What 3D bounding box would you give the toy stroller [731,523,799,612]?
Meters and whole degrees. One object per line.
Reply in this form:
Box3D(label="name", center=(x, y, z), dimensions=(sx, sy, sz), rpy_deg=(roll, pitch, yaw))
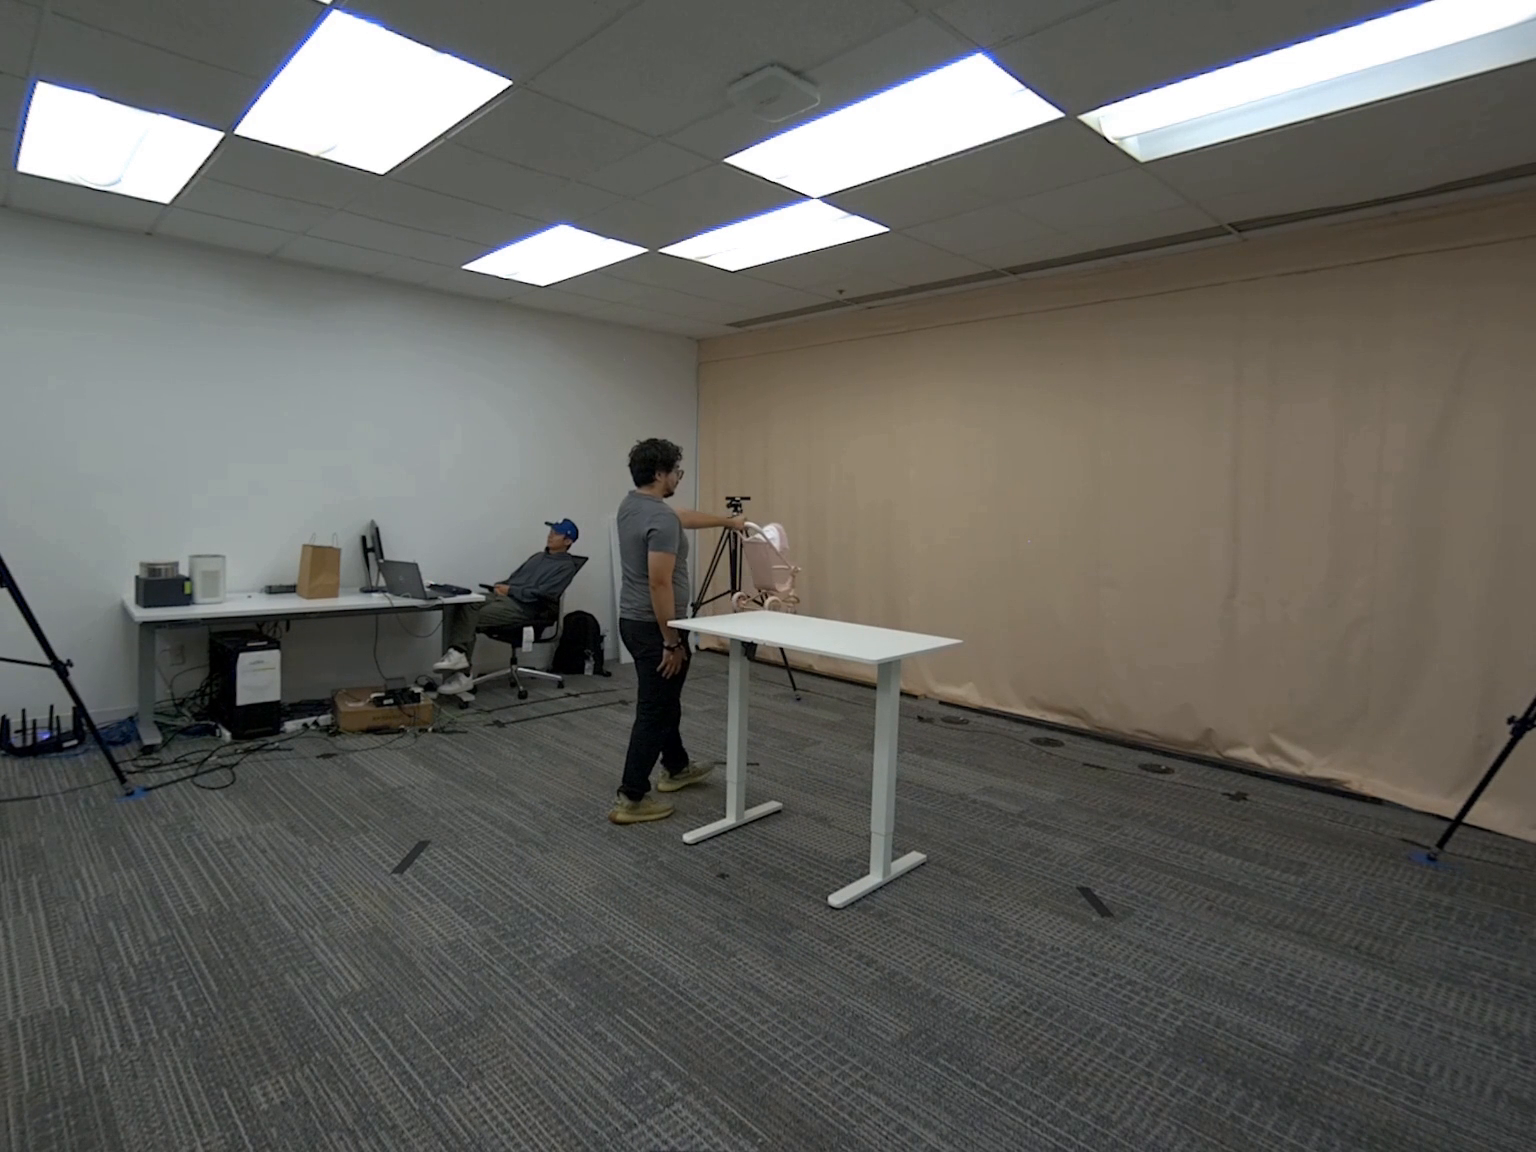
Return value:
Box3D(label="toy stroller", center=(0.001, -0.025, 4.227), dimensions=(0.335, 0.532, 0.288), rpy_deg=(-10, 8, -36))
